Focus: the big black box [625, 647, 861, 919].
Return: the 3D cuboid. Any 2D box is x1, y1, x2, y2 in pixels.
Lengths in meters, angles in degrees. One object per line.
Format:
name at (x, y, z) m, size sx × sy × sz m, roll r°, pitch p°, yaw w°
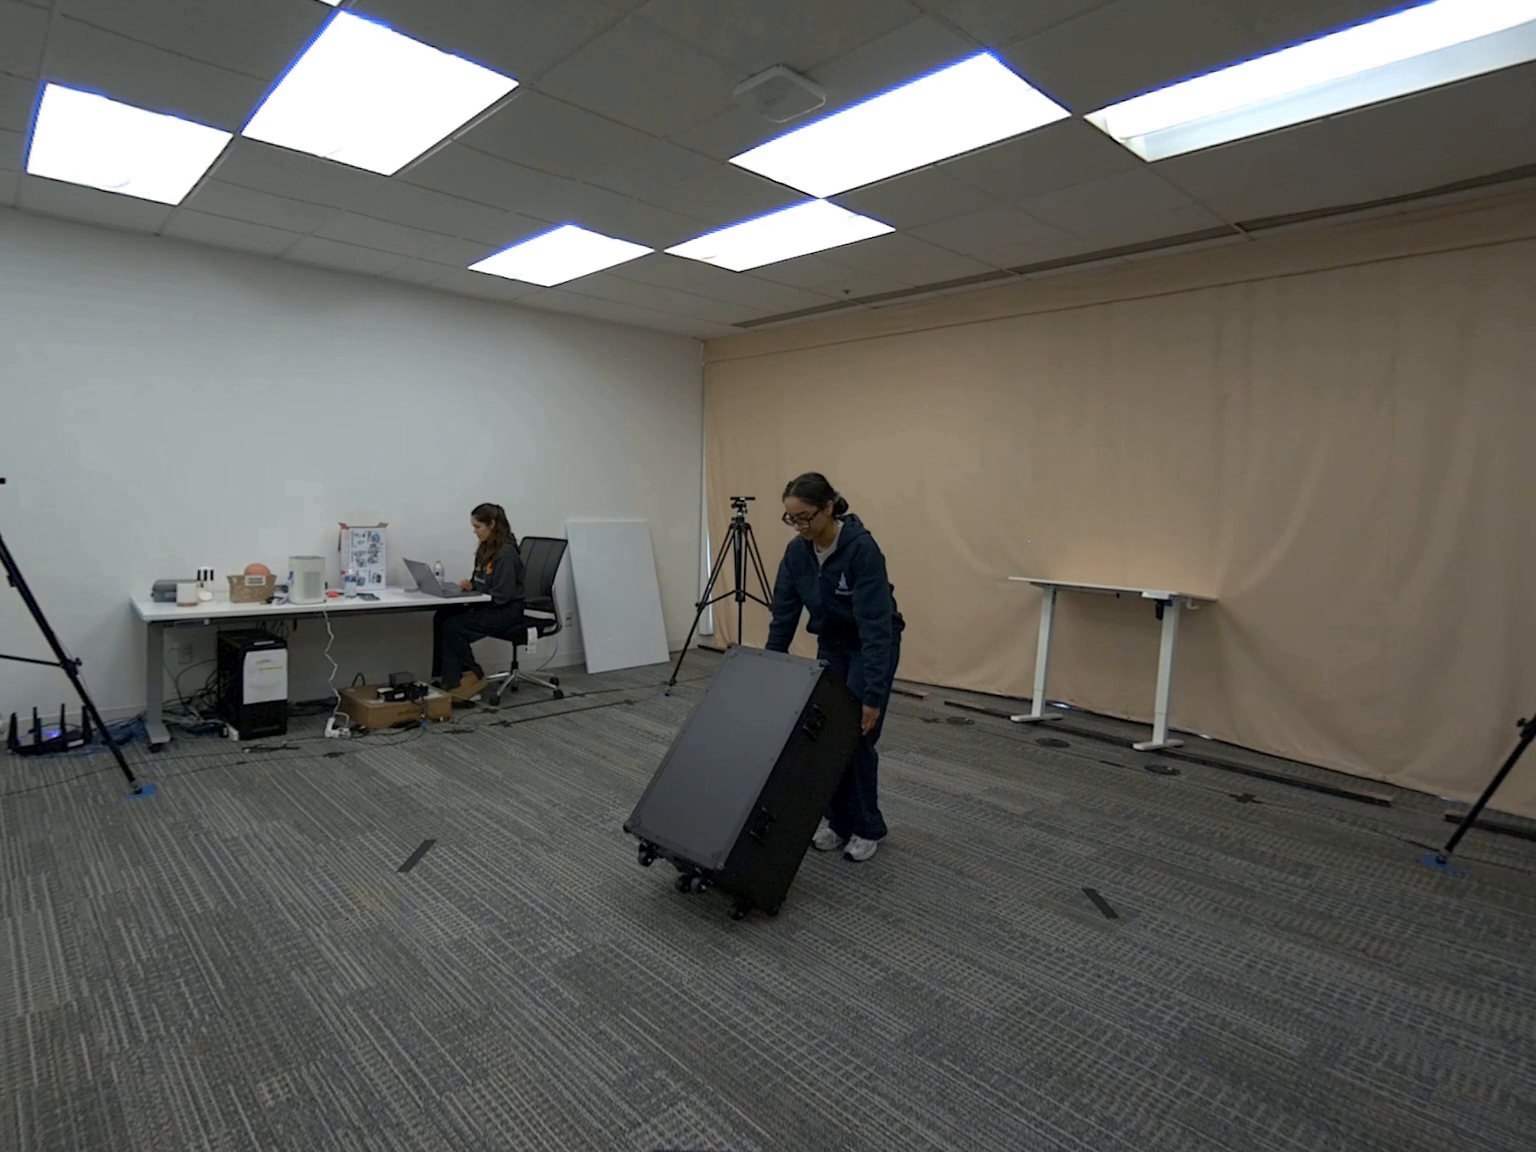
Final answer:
big black box at (-0.077, 0.725, 2.991) m, size 0.534 × 0.866 × 0.384 m, roll 4°, pitch -36°, yaw 43°
